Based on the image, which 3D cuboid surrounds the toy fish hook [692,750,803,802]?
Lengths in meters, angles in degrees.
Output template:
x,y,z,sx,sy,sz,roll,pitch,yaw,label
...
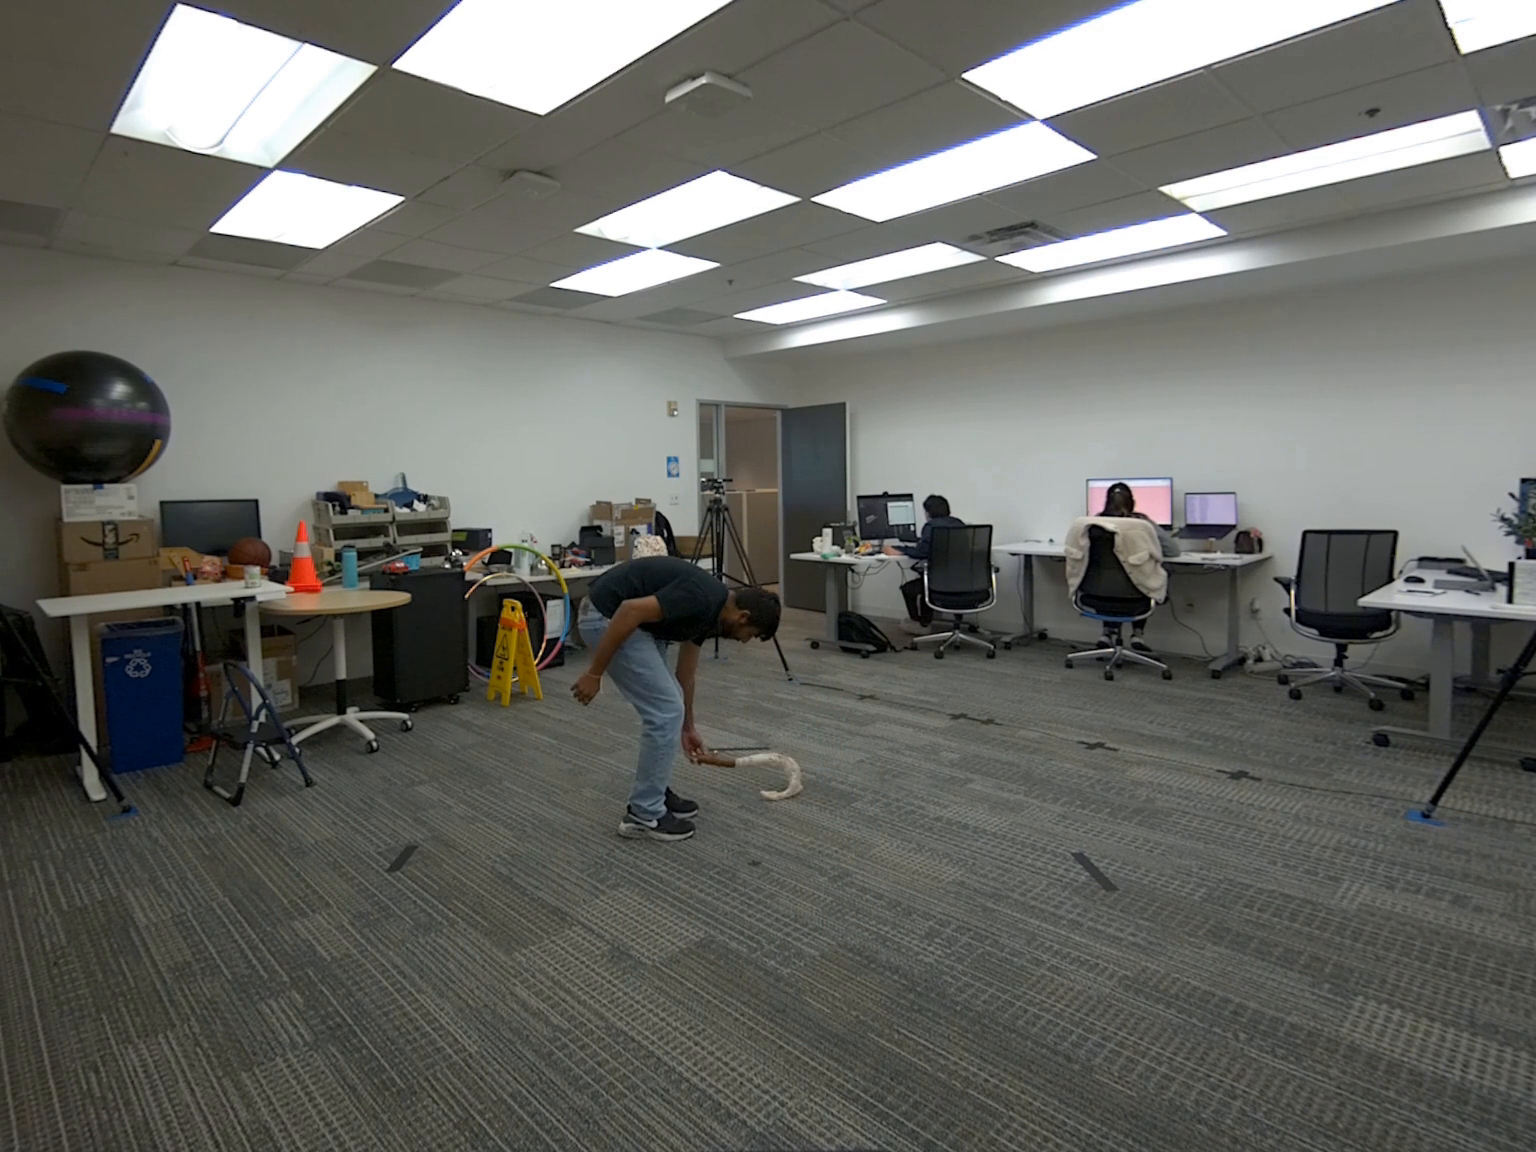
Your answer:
x,y,z,sx,sy,sz,roll,pitch,yaw,label
-0.087,0.873,3.757,0.501,0.047,0.231,7,41,-10,toy fish hook
